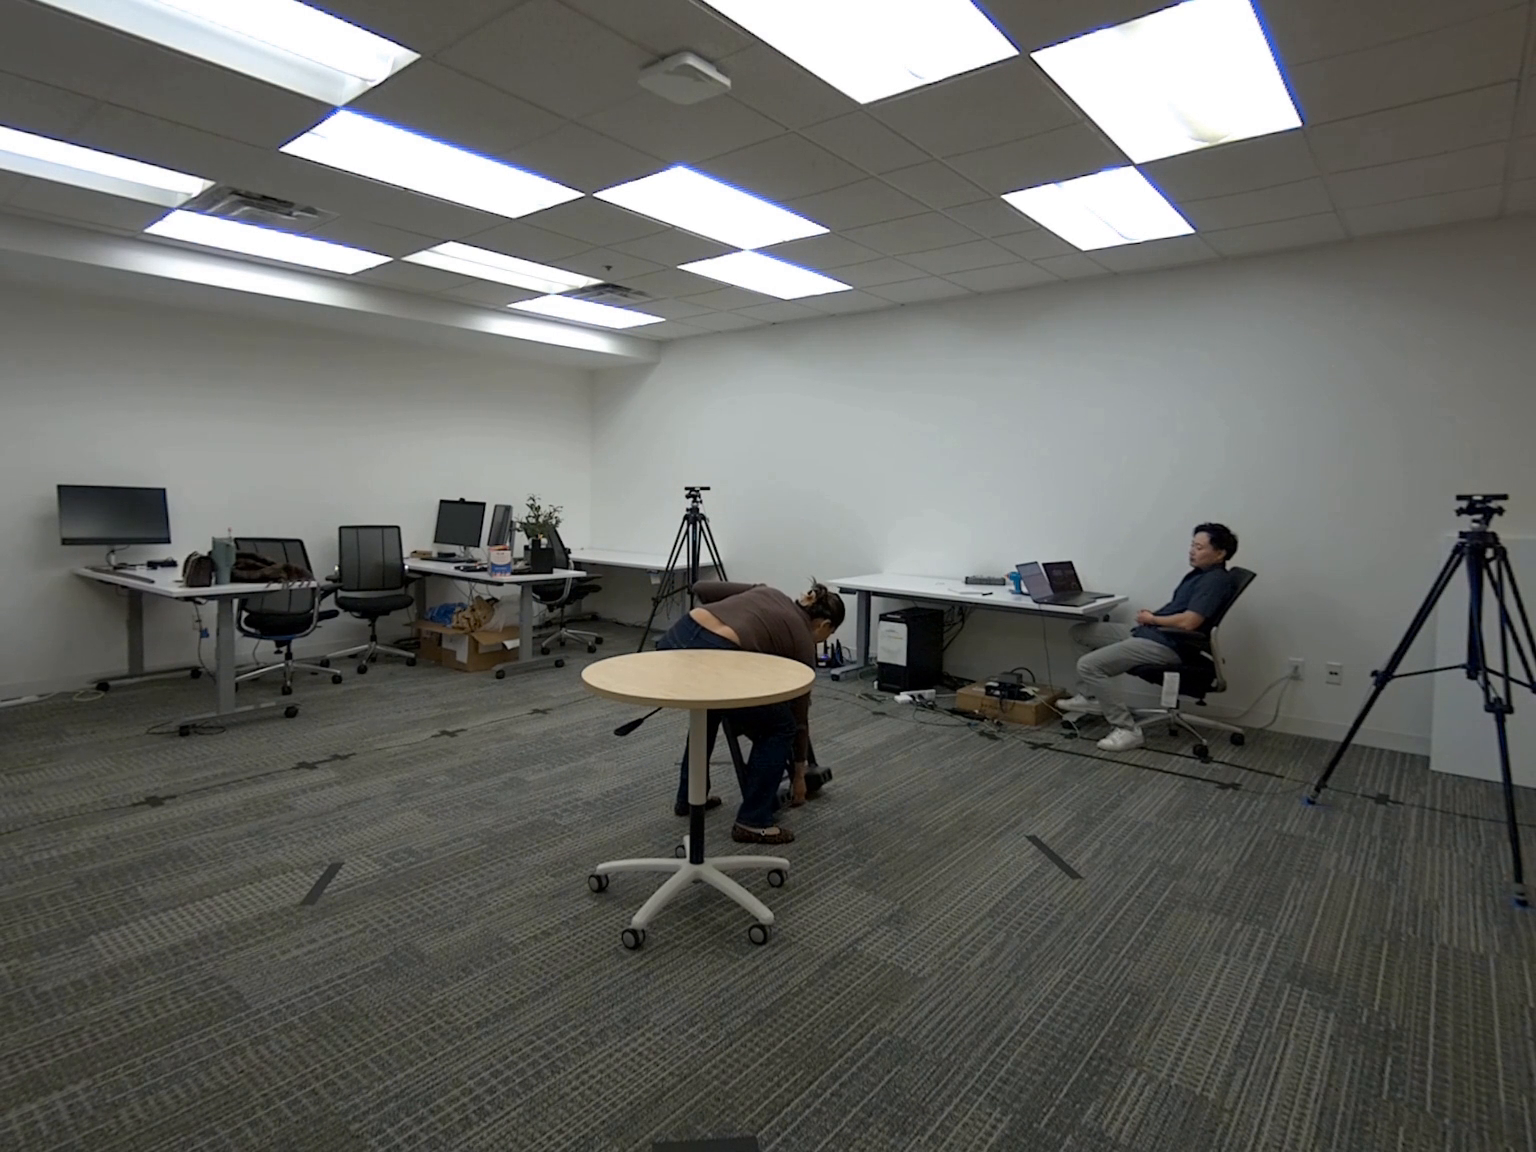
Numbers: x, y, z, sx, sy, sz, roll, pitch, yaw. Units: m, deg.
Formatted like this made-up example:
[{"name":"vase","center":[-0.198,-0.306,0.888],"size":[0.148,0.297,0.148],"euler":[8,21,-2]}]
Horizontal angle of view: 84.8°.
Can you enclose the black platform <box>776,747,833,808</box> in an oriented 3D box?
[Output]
[{"name":"black platform","center":[0.015,0.596,3.778],"size":[0.145,0.815,0.588],"euler":[-23,-10,31]}]
